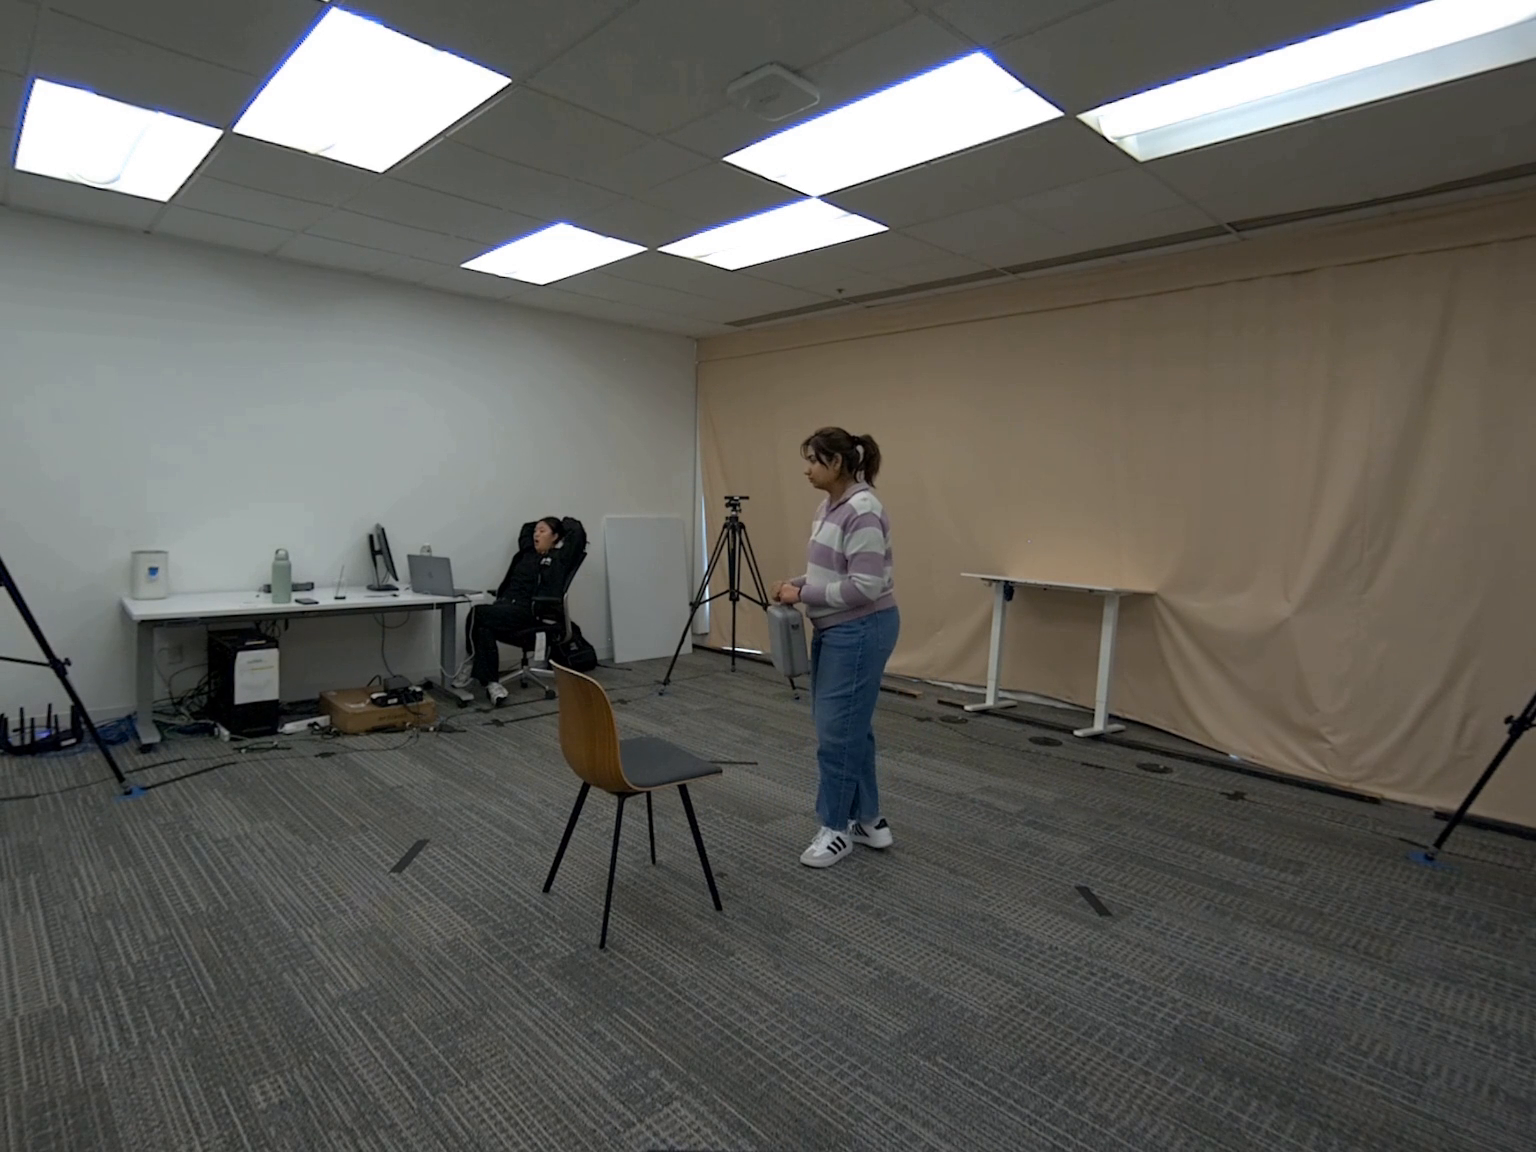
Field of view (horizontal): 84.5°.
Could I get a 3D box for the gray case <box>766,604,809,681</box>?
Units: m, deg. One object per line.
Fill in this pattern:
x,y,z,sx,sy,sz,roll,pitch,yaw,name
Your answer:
0.068,0.242,3.290,0.104,0.259,0.260,-8,7,-9,gray case
